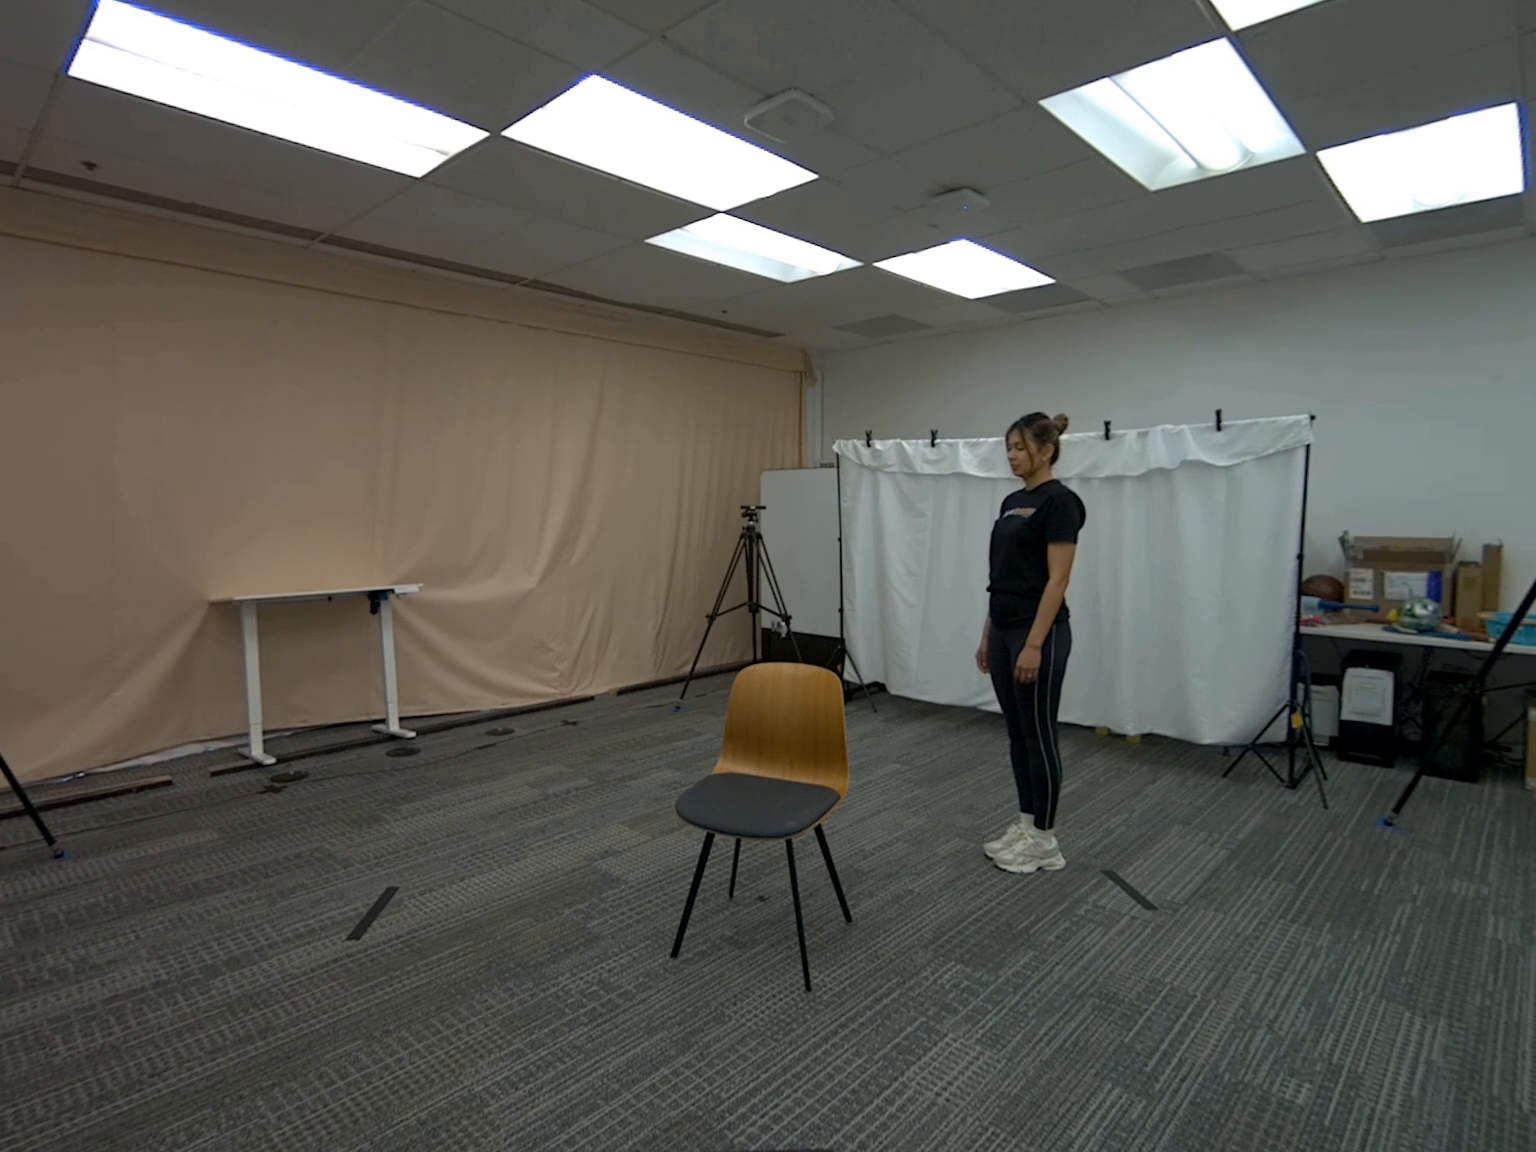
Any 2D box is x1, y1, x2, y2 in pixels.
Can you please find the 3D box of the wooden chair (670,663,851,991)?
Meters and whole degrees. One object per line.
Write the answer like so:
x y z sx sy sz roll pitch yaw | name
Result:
-0.003 0.742 2.670 0.490 0.877 0.510 2 0 23 | wooden chair
